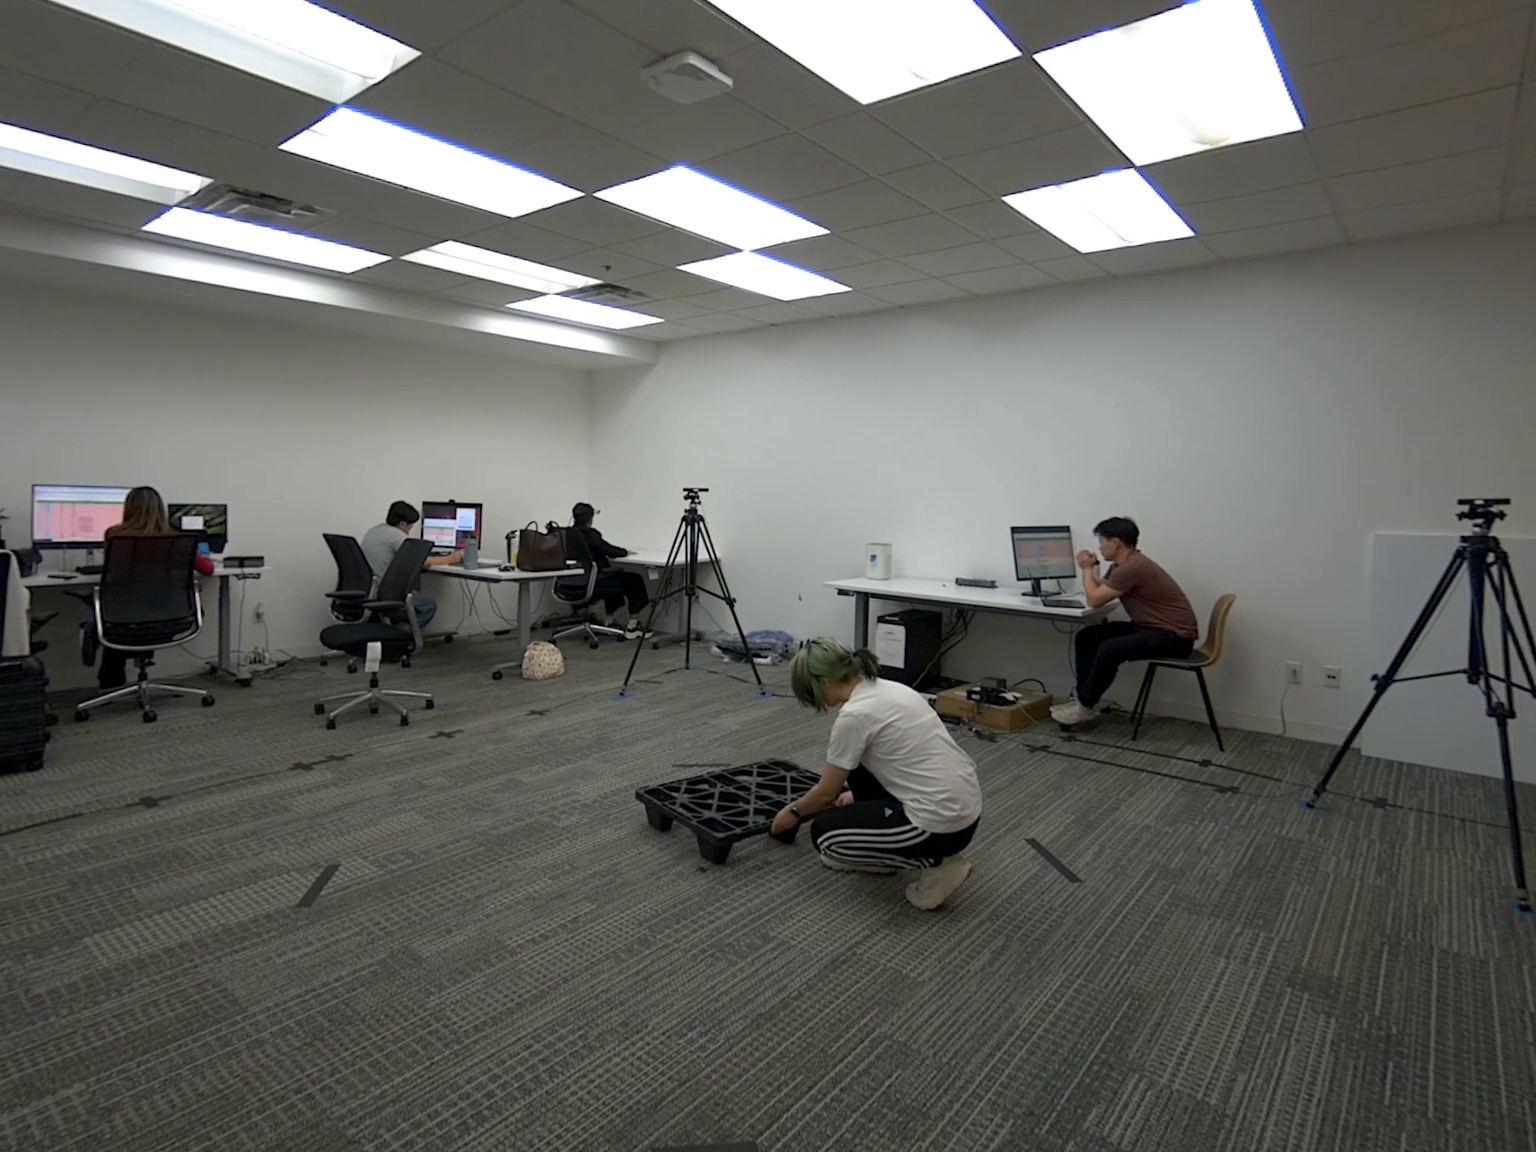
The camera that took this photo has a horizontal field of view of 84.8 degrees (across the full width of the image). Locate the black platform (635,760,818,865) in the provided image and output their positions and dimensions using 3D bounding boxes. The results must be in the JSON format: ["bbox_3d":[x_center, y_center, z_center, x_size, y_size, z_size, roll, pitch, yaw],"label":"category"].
[{"bbox_3d":[-0.082,0.962,3.548,0.781,0.143,0.625,-3,6,-39],"label":"black platform"}]
